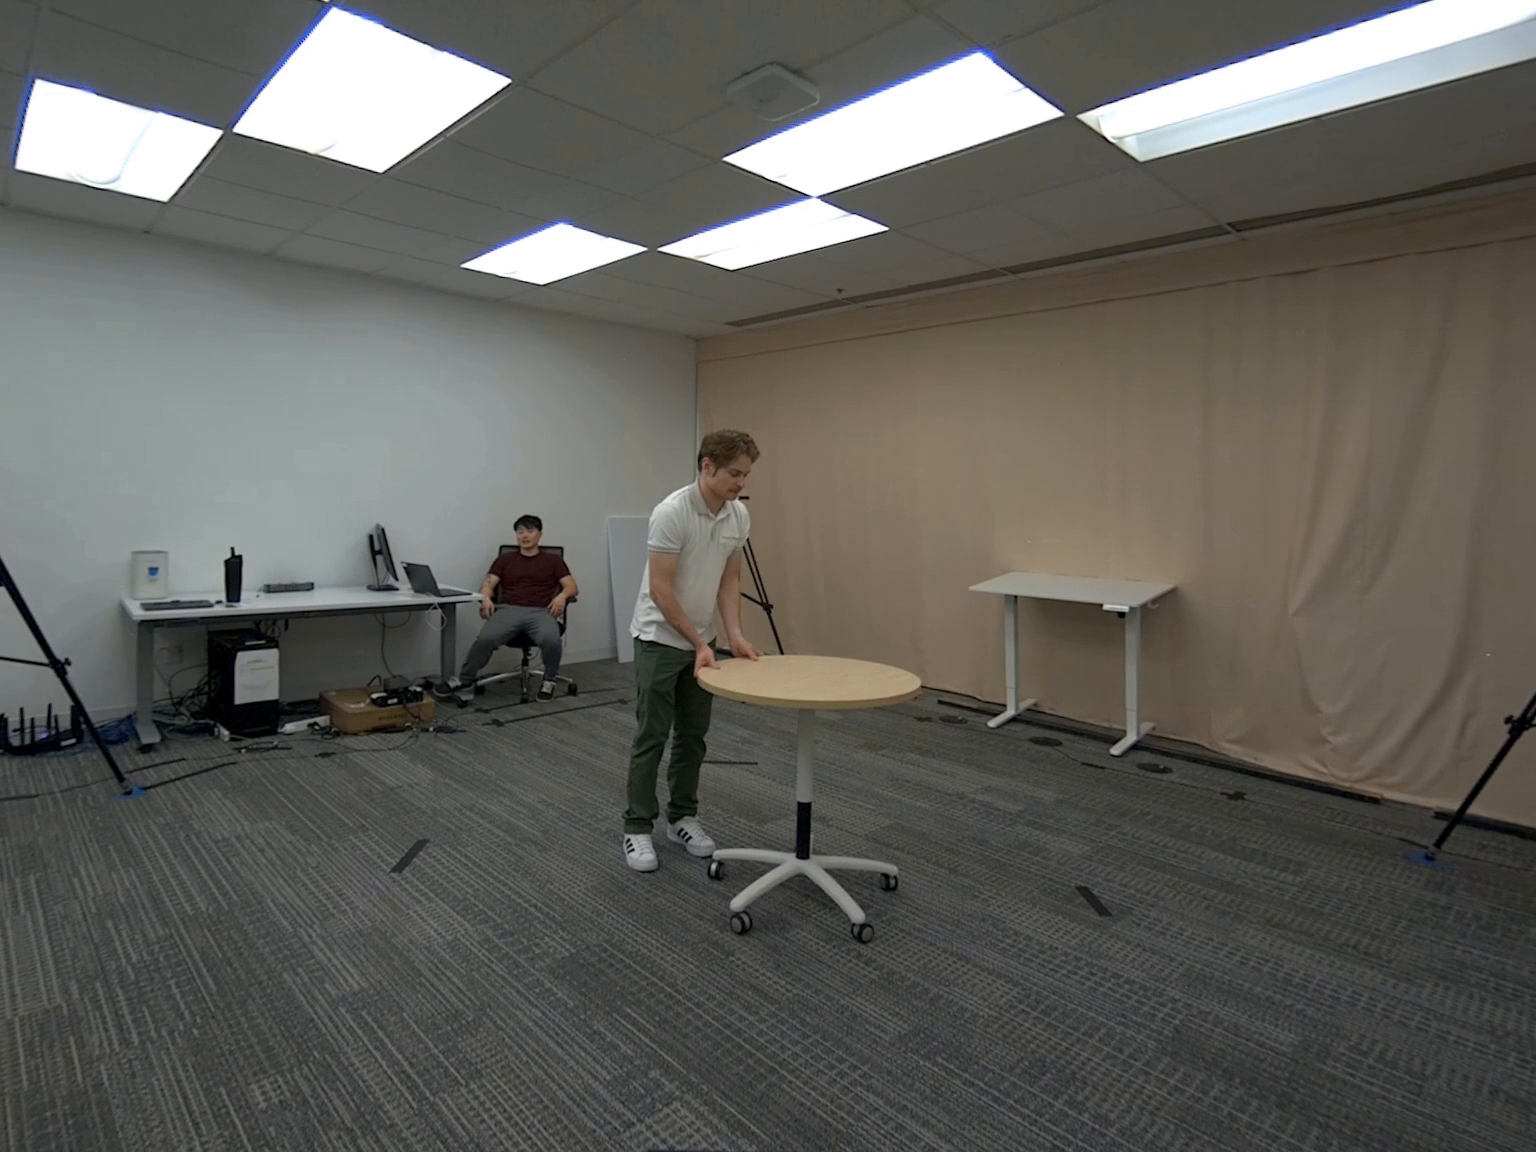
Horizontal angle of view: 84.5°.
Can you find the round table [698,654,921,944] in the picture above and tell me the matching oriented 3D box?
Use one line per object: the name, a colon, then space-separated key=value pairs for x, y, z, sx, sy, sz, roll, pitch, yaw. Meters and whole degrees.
round table: x=0.126 y=0.738 z=2.920 sx=0.763 sy=0.792 sz=0.766 roll=1 pitch=4 yaw=-1
